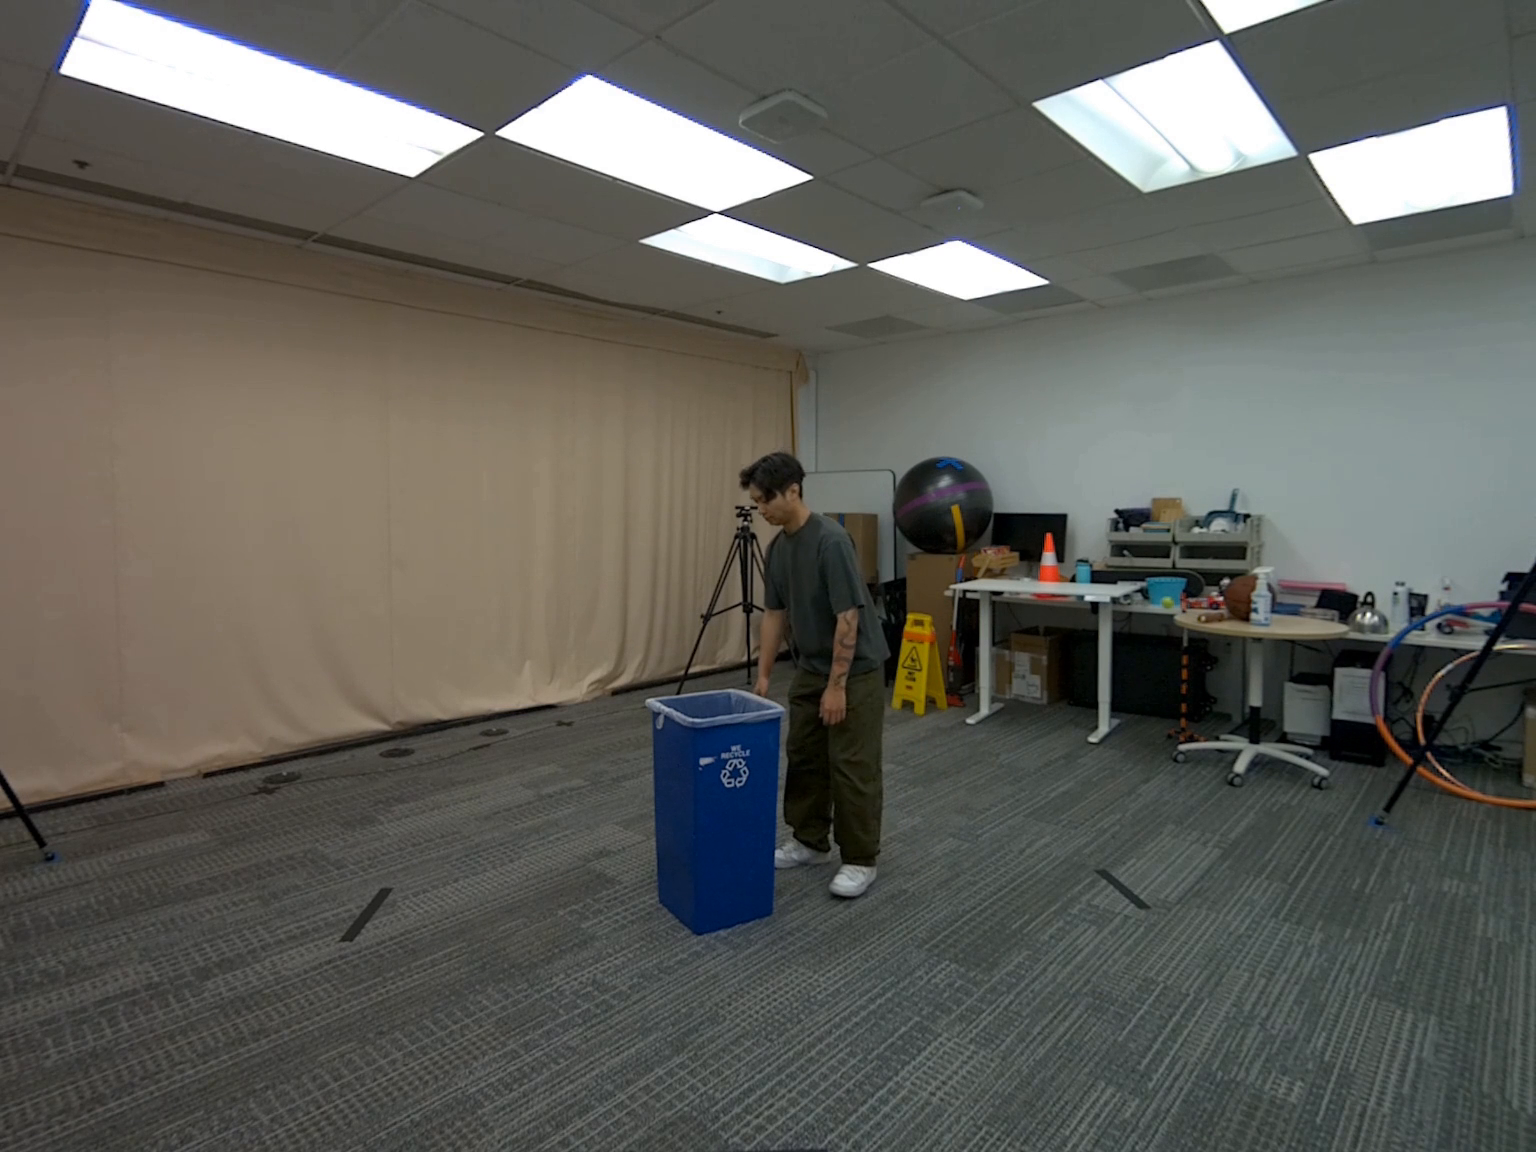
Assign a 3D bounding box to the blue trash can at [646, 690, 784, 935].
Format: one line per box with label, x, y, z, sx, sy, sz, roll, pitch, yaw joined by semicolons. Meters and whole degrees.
blue trash can;-0.173;0.793;2.903;0.367;0.712;0.385;-1;3;-32
